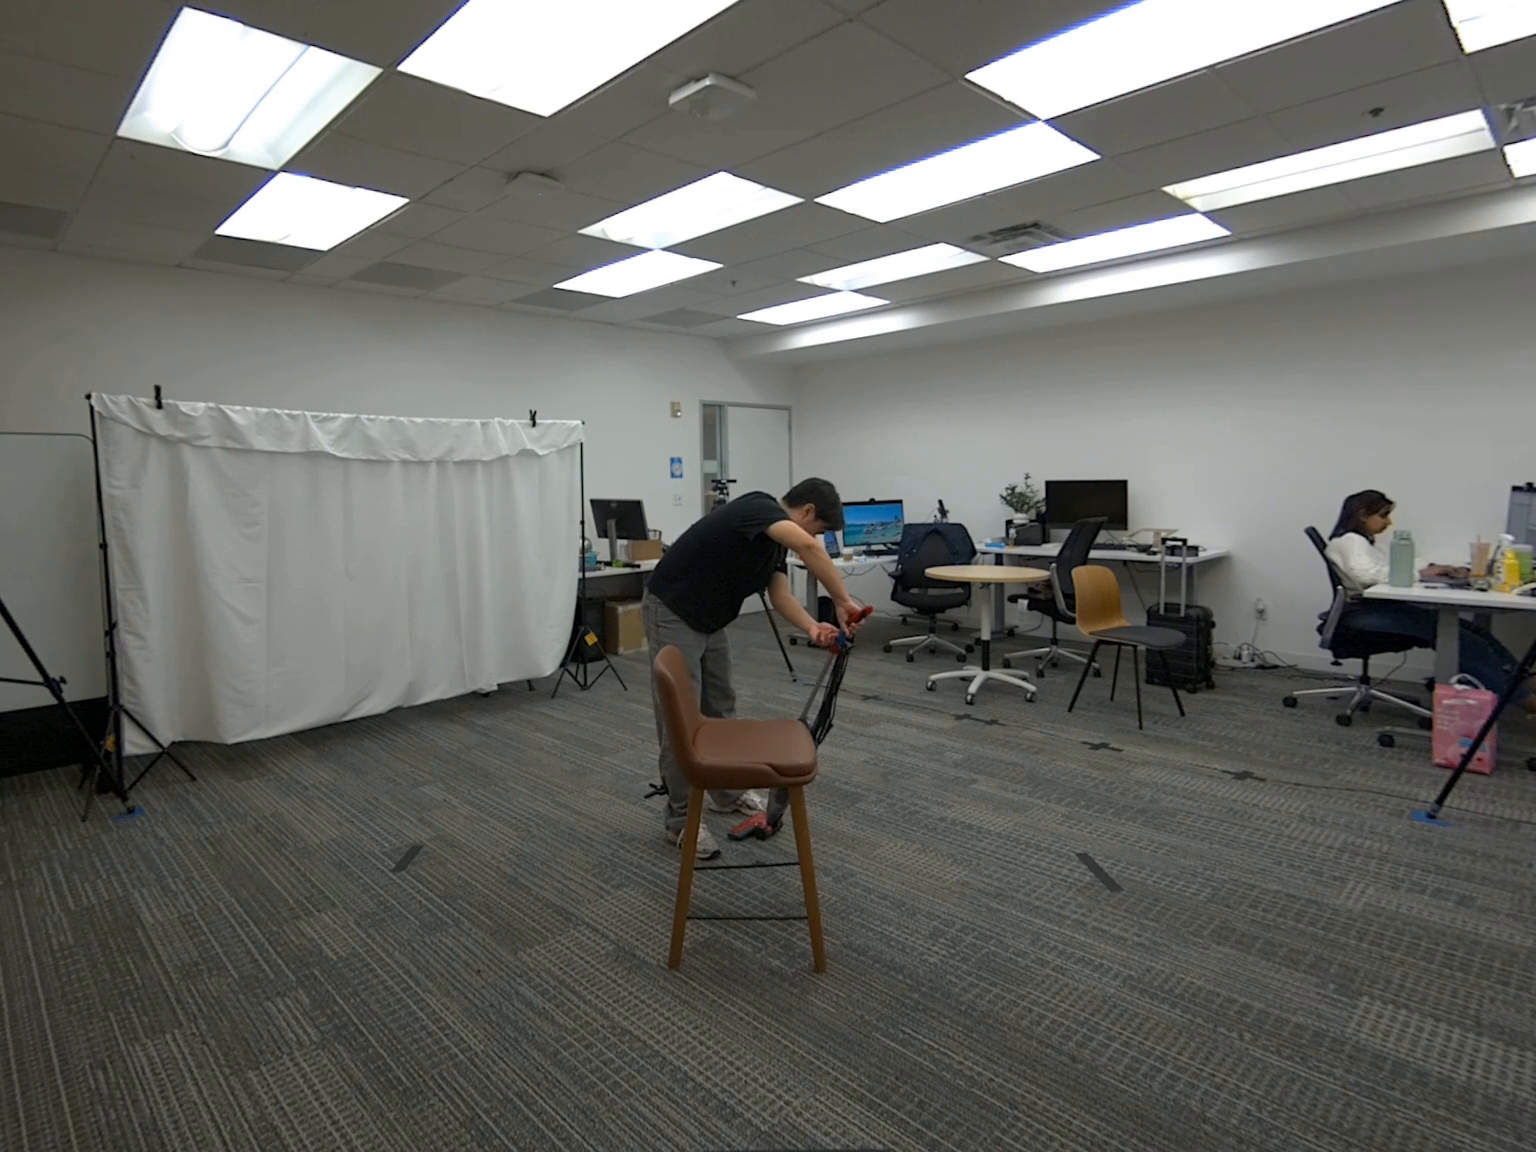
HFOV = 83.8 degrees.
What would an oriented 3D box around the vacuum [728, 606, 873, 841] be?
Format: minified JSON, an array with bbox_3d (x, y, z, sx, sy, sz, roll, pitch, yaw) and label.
[{"bbox_3d":[0.164,0.570,3.210,0.148,1.040,0.248,33,22,21],"label":"vacuum"}]
